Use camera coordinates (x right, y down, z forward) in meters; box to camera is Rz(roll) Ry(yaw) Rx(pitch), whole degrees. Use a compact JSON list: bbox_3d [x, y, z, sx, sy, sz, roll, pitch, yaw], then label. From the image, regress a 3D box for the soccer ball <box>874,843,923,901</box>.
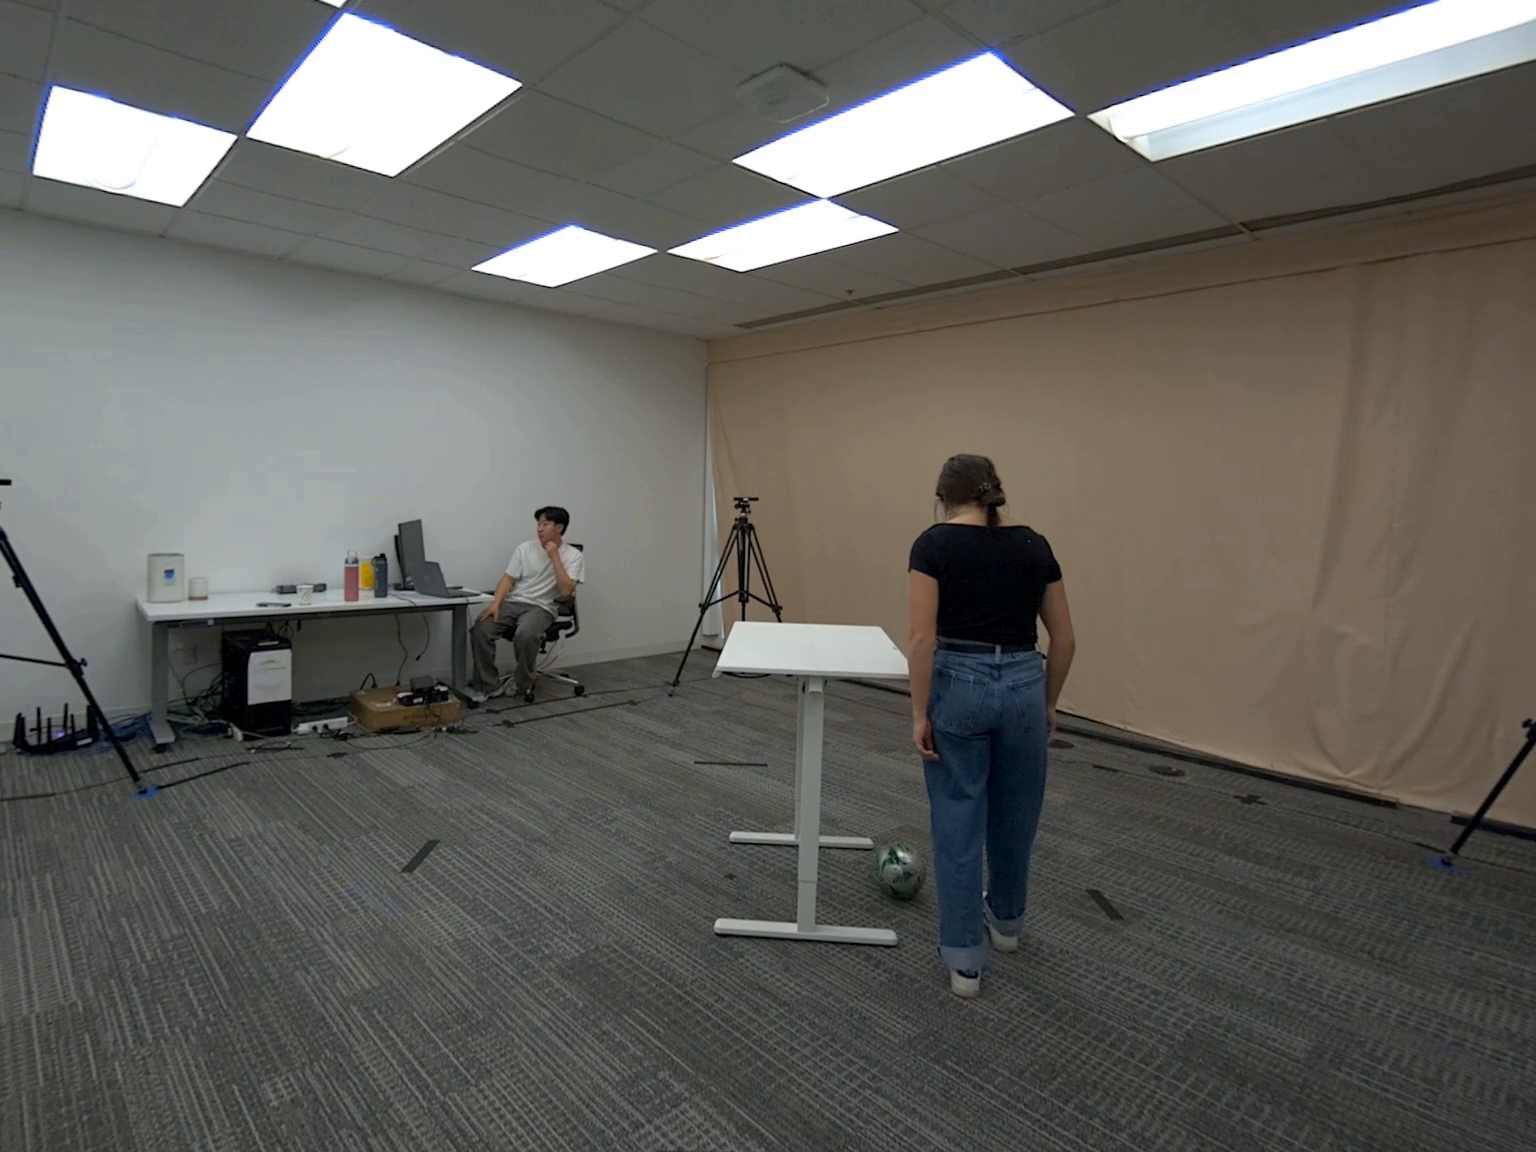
[{"bbox_3d":[0.459,1.043,2.966,0.187,0.187,0.188,1,4,-1],"label":"soccer ball"}]
